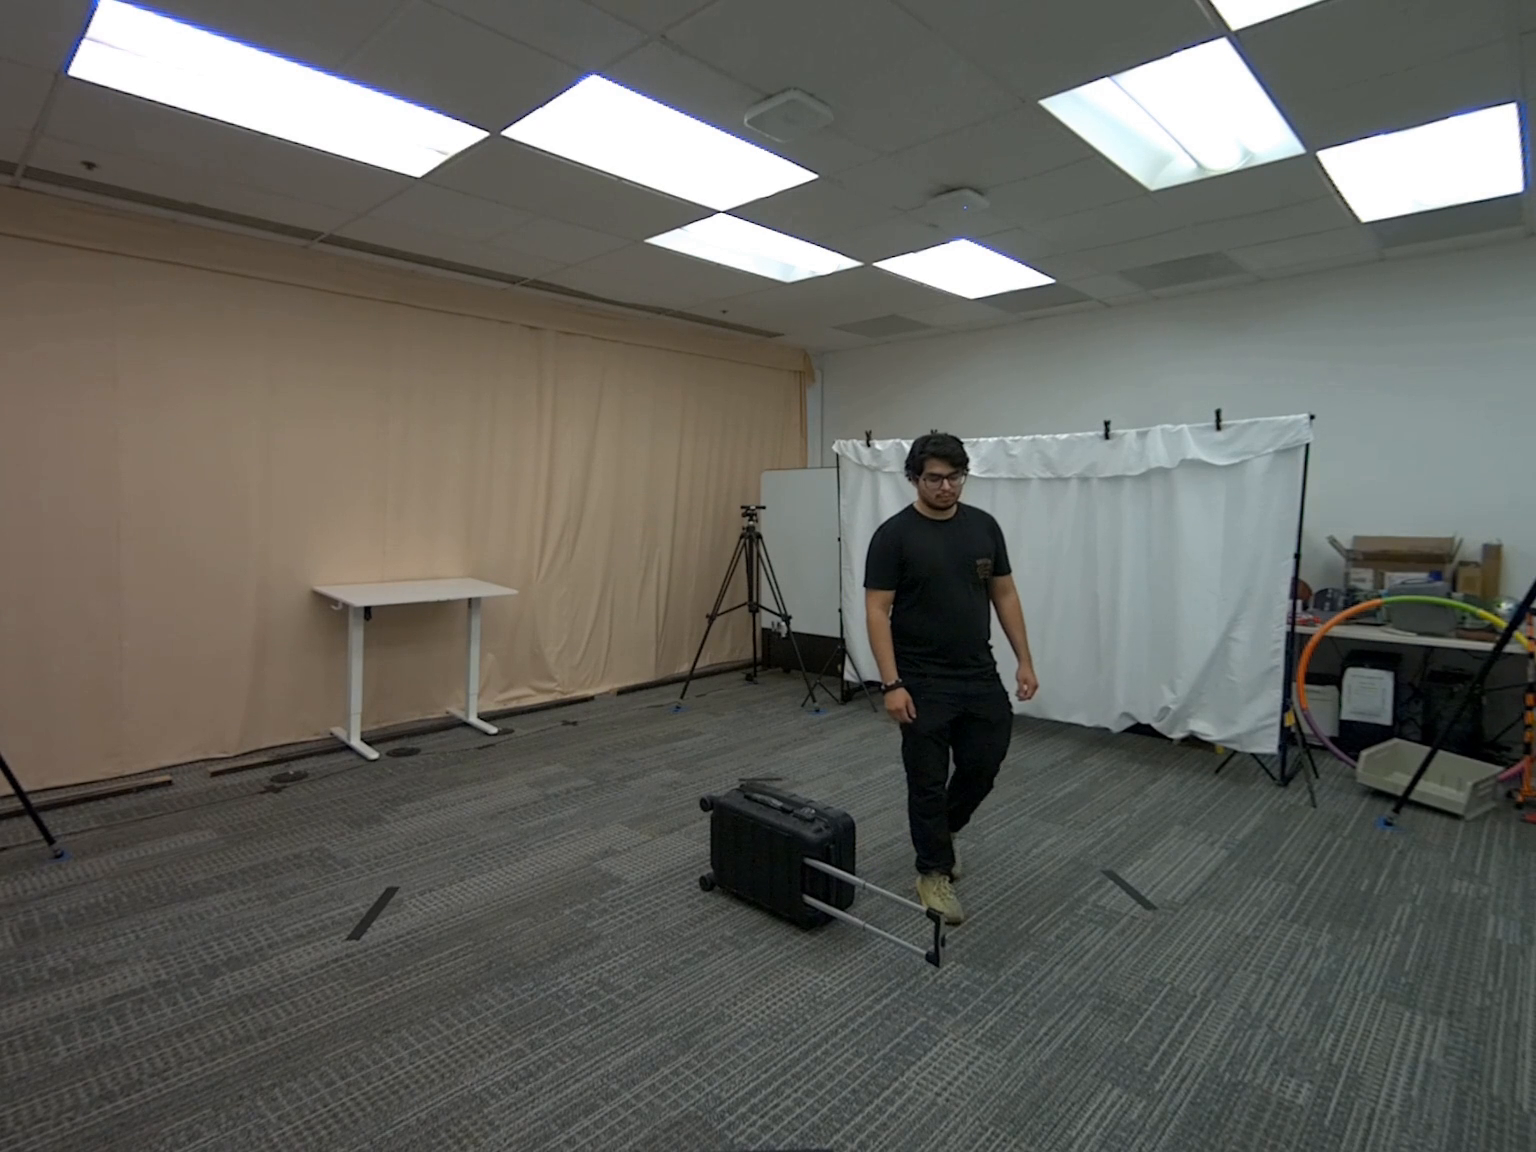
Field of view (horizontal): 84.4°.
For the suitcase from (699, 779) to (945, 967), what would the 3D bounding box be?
[{"bbox_3d":[0.199,0.971,2.798,1.012,0.383,0.249,5,6,43],"label":"suitcase"}]
